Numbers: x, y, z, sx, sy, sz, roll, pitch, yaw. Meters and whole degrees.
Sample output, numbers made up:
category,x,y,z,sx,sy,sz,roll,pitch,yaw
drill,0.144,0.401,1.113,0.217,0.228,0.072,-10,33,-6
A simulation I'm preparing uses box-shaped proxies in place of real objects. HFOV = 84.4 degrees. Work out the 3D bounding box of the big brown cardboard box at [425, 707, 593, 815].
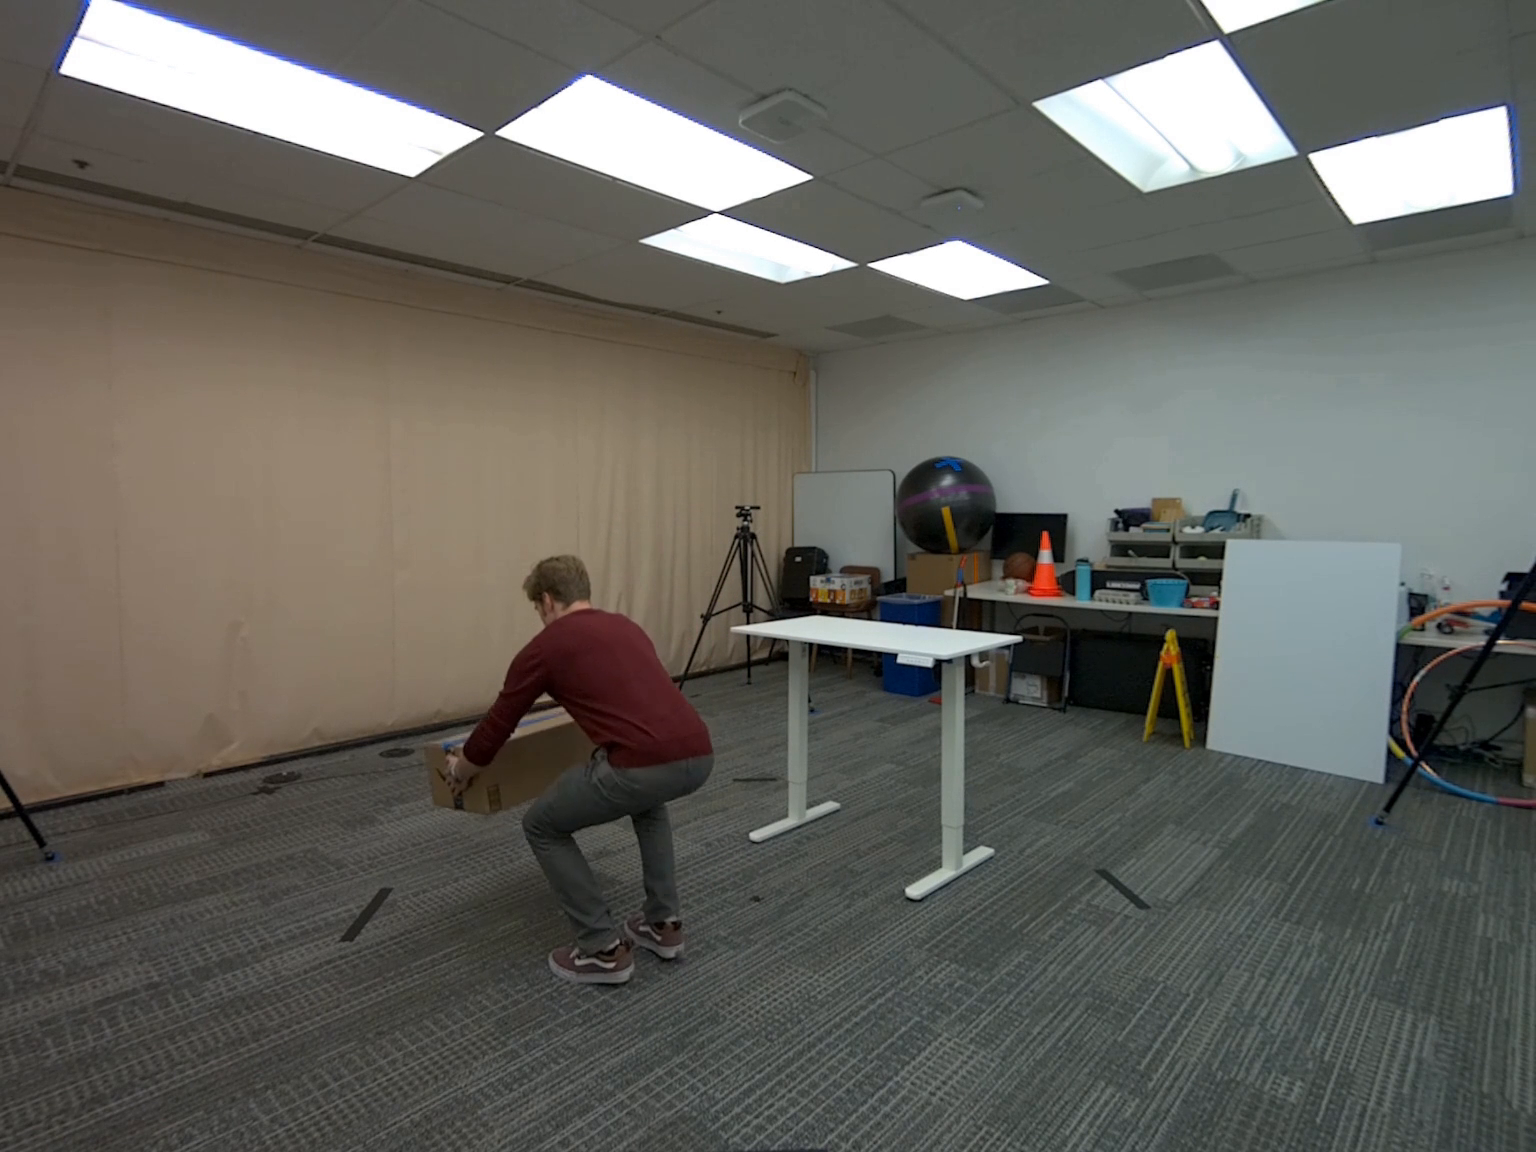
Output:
category,x,y,z,sx,sy,sz,roll,pitch,yaw
big brown cardboard box,-0.854,0.639,2.984,0.572,0.233,0.429,-10,0,-45
